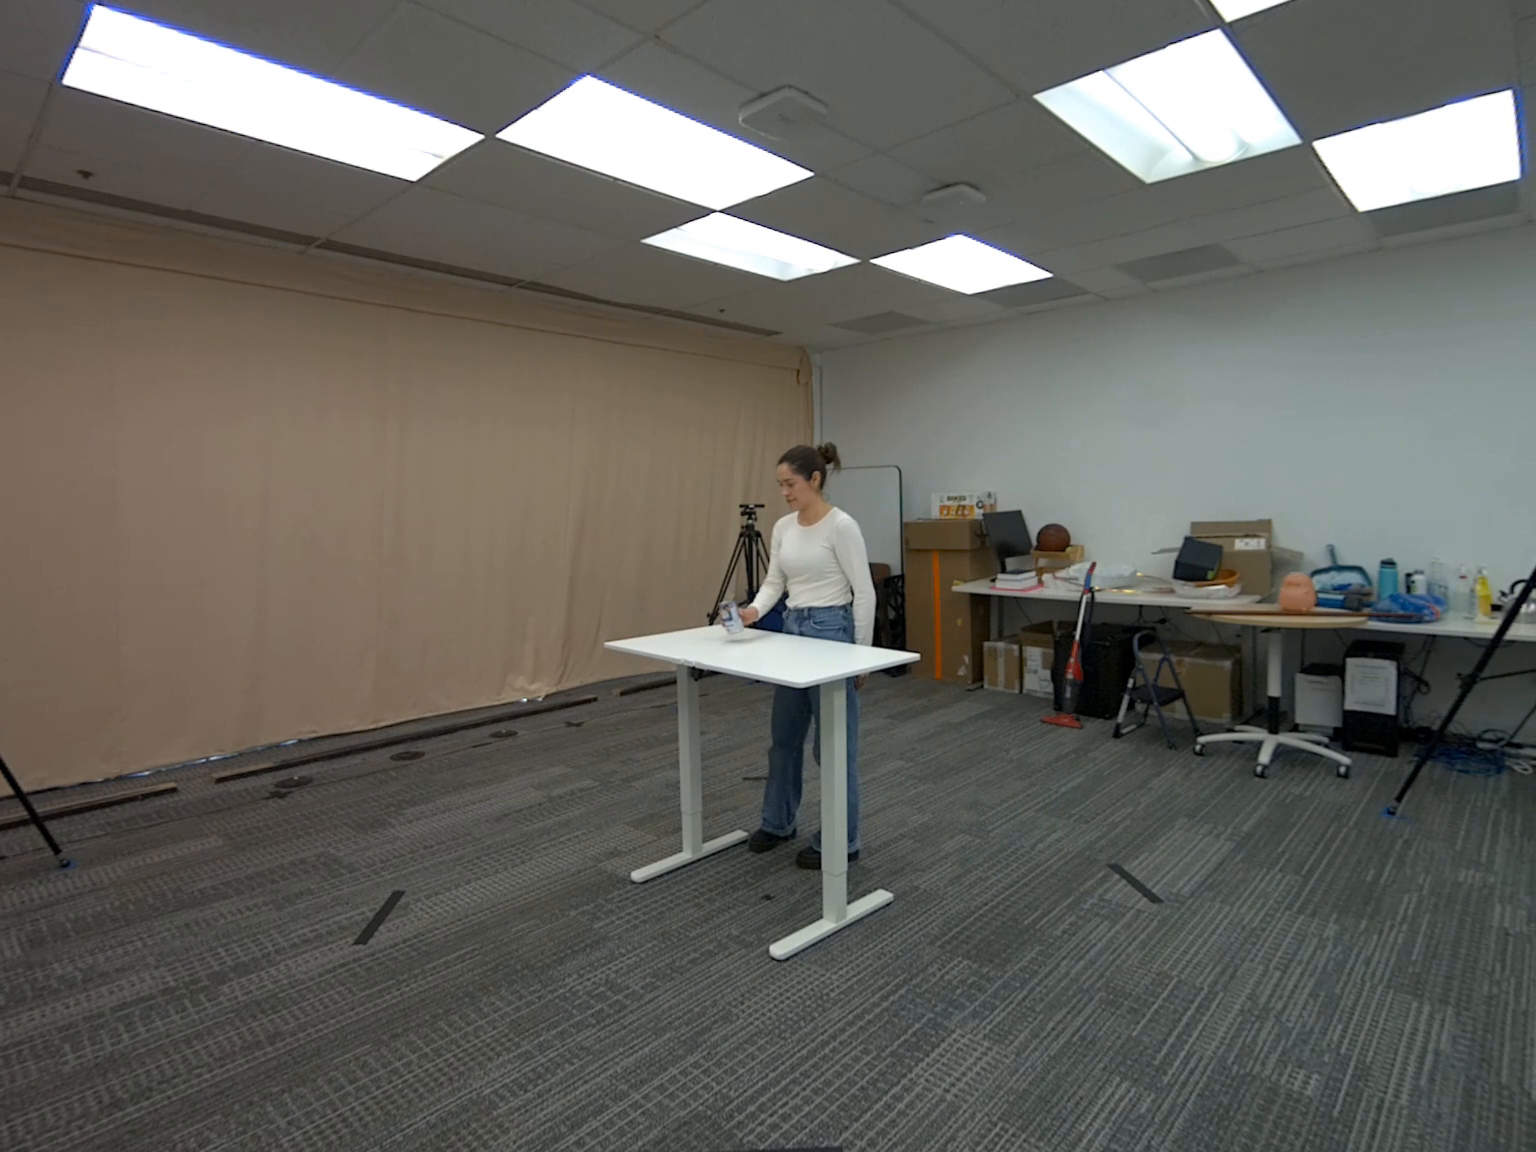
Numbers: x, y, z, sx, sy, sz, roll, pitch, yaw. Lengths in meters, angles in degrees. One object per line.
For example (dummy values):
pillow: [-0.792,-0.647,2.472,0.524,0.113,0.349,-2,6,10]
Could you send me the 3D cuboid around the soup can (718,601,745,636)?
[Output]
soup can: [-0.135,0.158,3.120,0.067,0.121,0.067,-11,3,-1]
